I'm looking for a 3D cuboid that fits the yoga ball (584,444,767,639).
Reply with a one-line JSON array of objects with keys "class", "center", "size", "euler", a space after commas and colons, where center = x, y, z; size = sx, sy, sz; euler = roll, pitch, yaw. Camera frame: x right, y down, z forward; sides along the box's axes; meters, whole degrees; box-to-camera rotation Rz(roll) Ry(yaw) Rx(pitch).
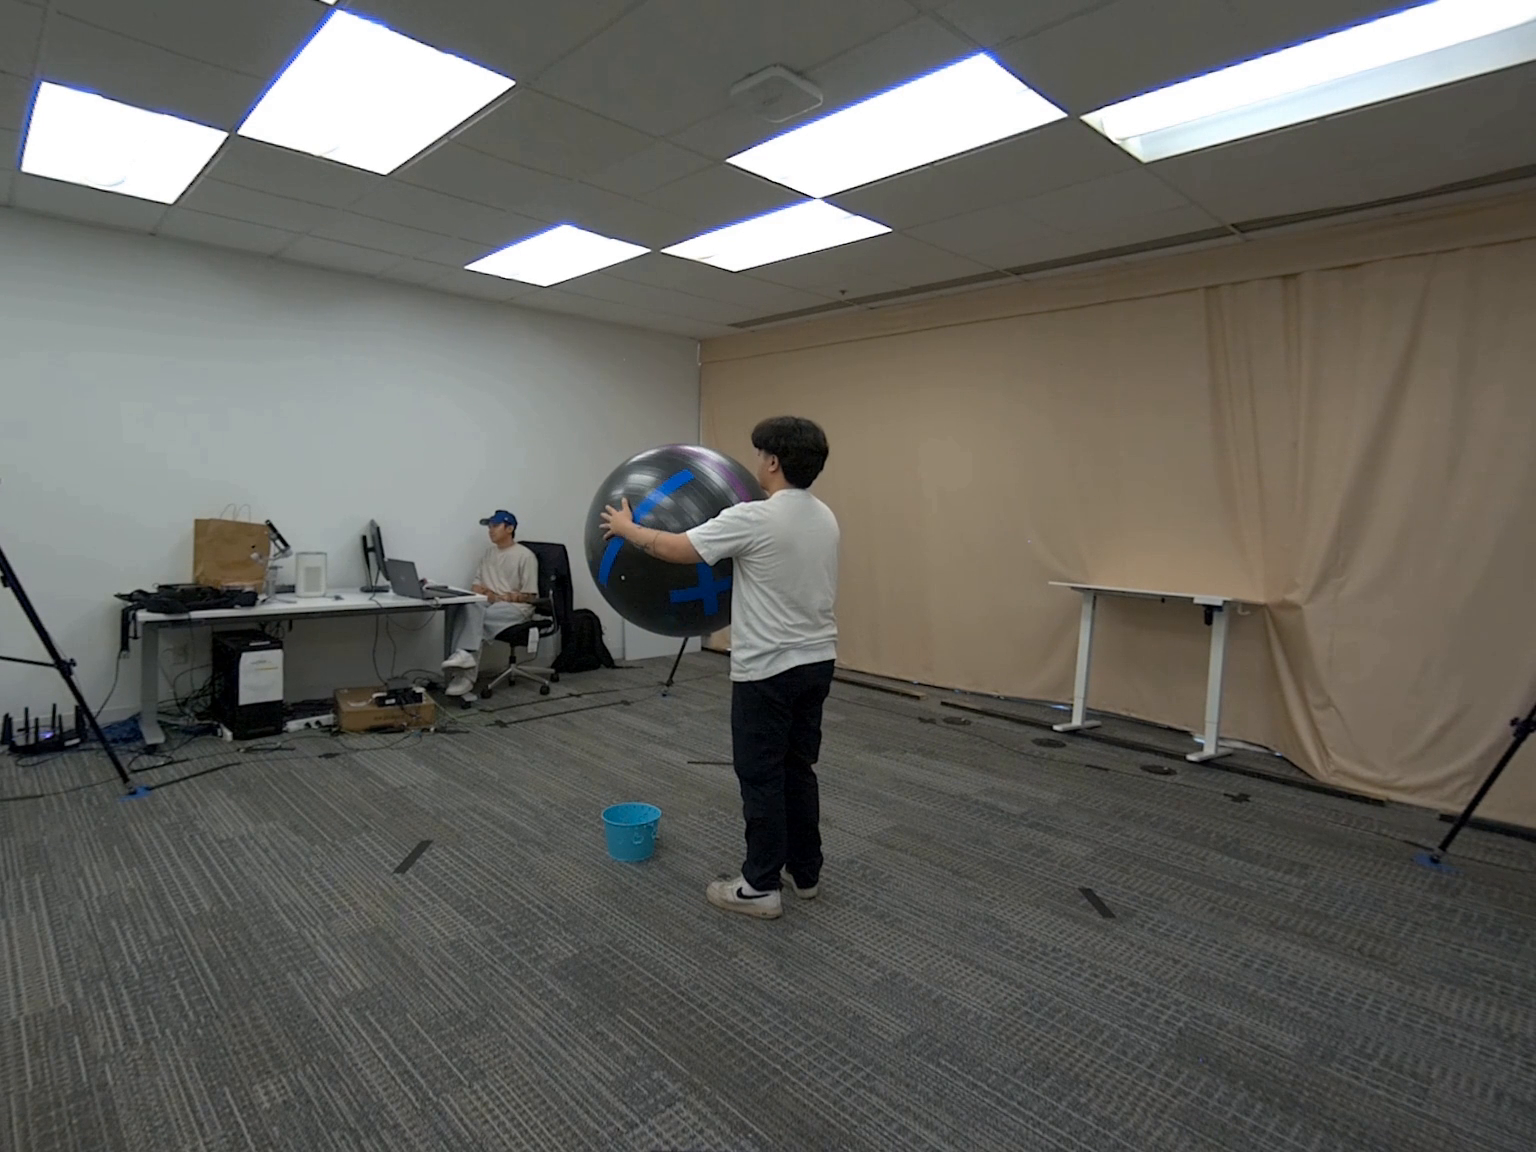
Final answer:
[{"class": "yoga ball", "center": [-0.346, -0.130, 3.320], "size": [0.757, 0.756, 0.760], "euler": [1, 4, -1]}]
